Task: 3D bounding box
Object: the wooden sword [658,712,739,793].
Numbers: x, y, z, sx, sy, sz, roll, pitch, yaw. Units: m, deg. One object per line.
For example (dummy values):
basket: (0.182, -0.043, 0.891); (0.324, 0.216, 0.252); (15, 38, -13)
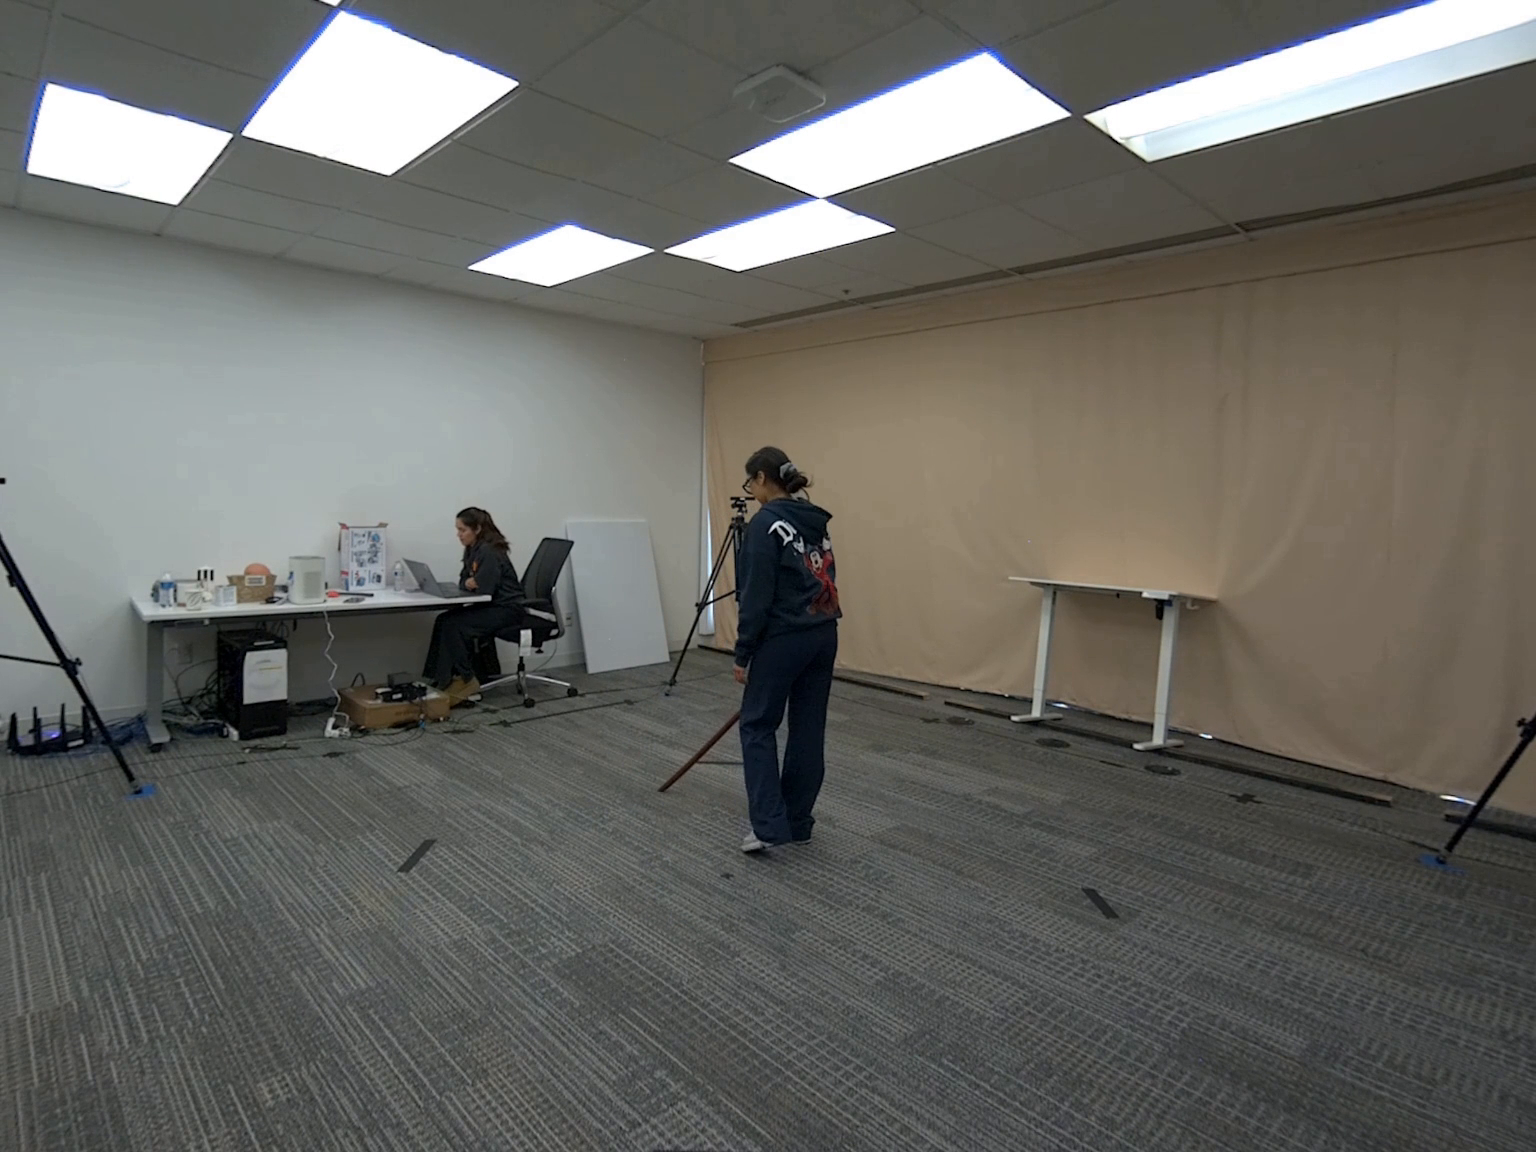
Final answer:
wooden sword: (-0.189, 0.665, 3.830); (0.050, 1.025, 0.024); (40, 18, -15)
